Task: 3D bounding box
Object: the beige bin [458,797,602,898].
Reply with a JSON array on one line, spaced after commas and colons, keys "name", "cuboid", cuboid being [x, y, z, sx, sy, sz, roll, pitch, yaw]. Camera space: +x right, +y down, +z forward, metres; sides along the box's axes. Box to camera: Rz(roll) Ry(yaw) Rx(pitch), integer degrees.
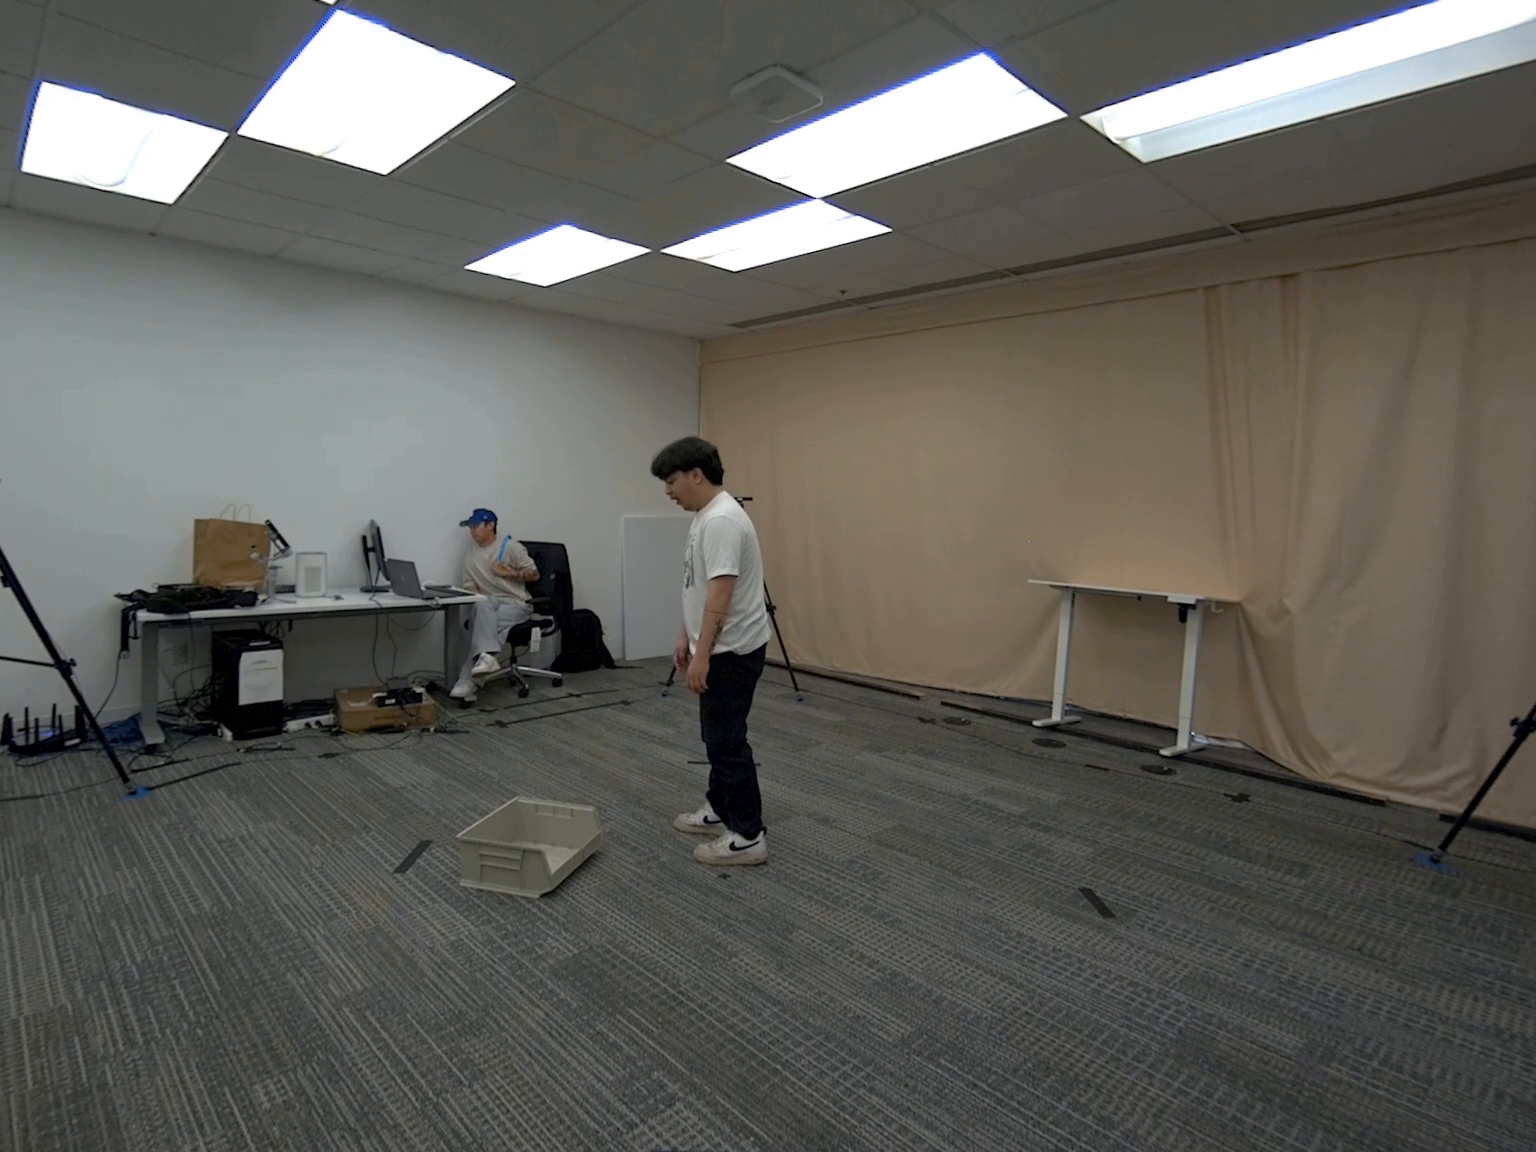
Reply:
[{"name": "beige bin", "cuboid": [-0.881, 1.002, 3.124, 0.382, 0.188, 0.419, 1, 6, 14]}]
